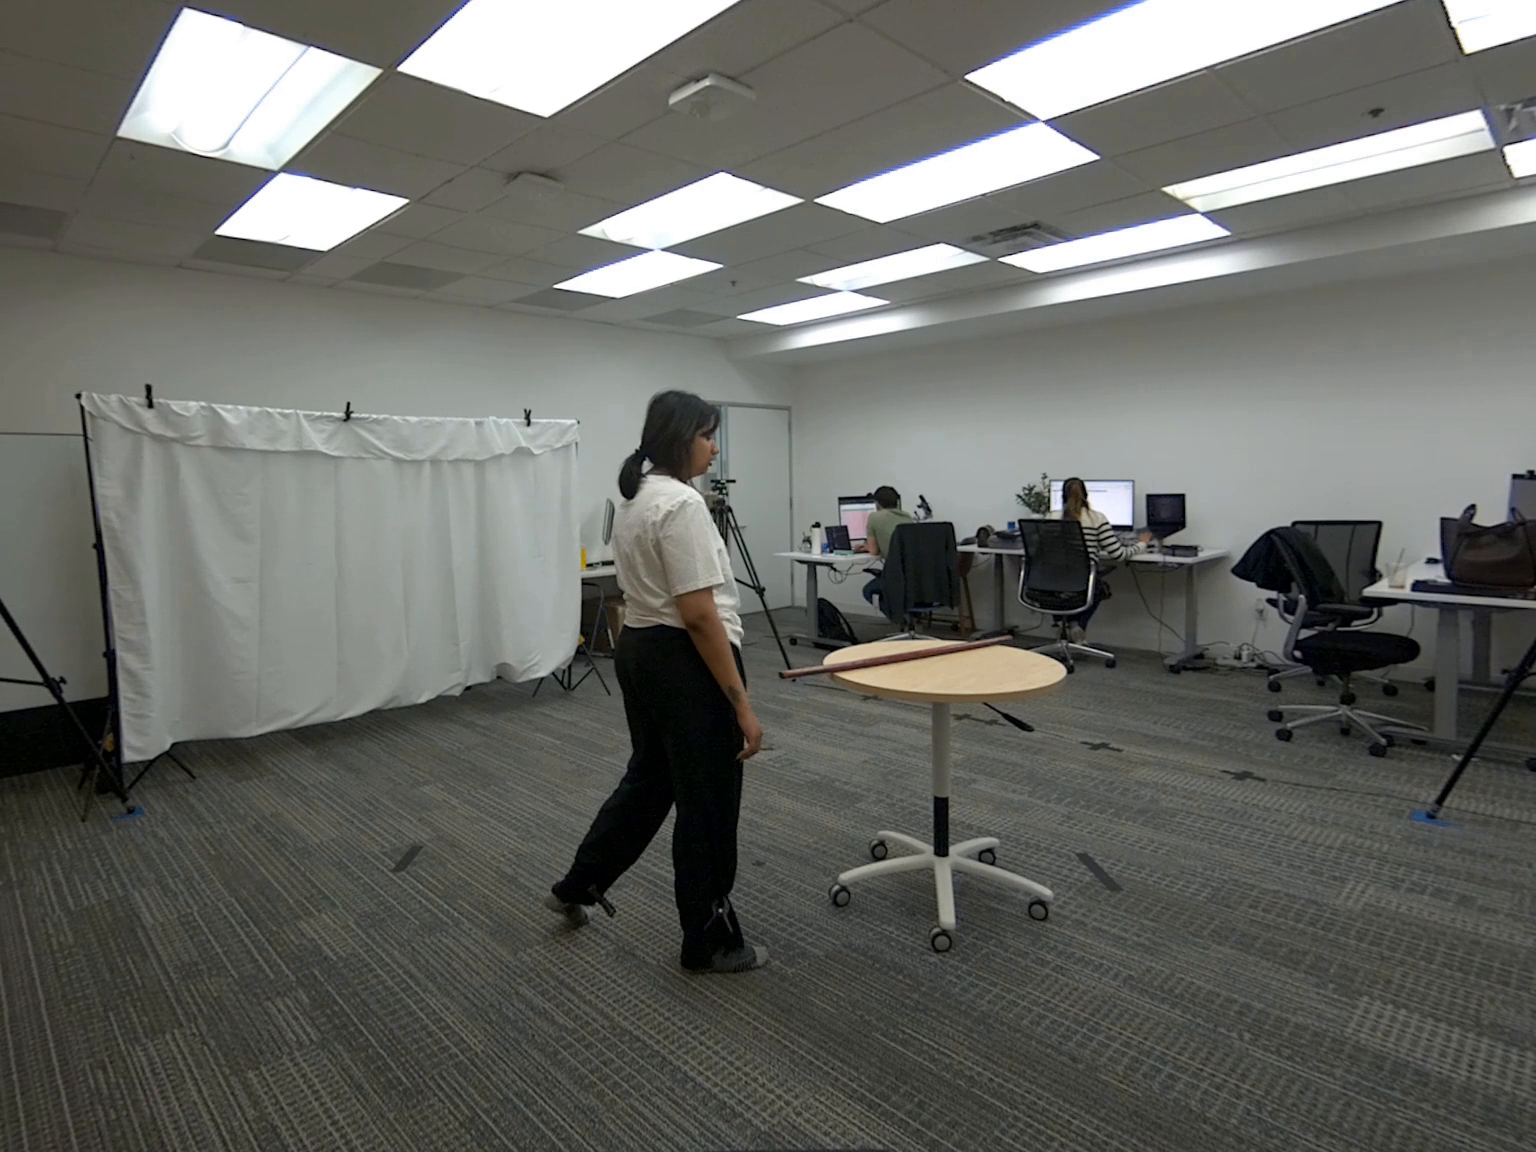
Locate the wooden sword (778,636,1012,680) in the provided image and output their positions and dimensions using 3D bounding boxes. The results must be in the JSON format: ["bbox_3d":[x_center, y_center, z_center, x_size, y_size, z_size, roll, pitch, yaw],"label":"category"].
[{"bbox_3d":[0.455,0.266,2.892,1.002,0.024,0.053,-6,45,-29],"label":"wooden sword"}]
